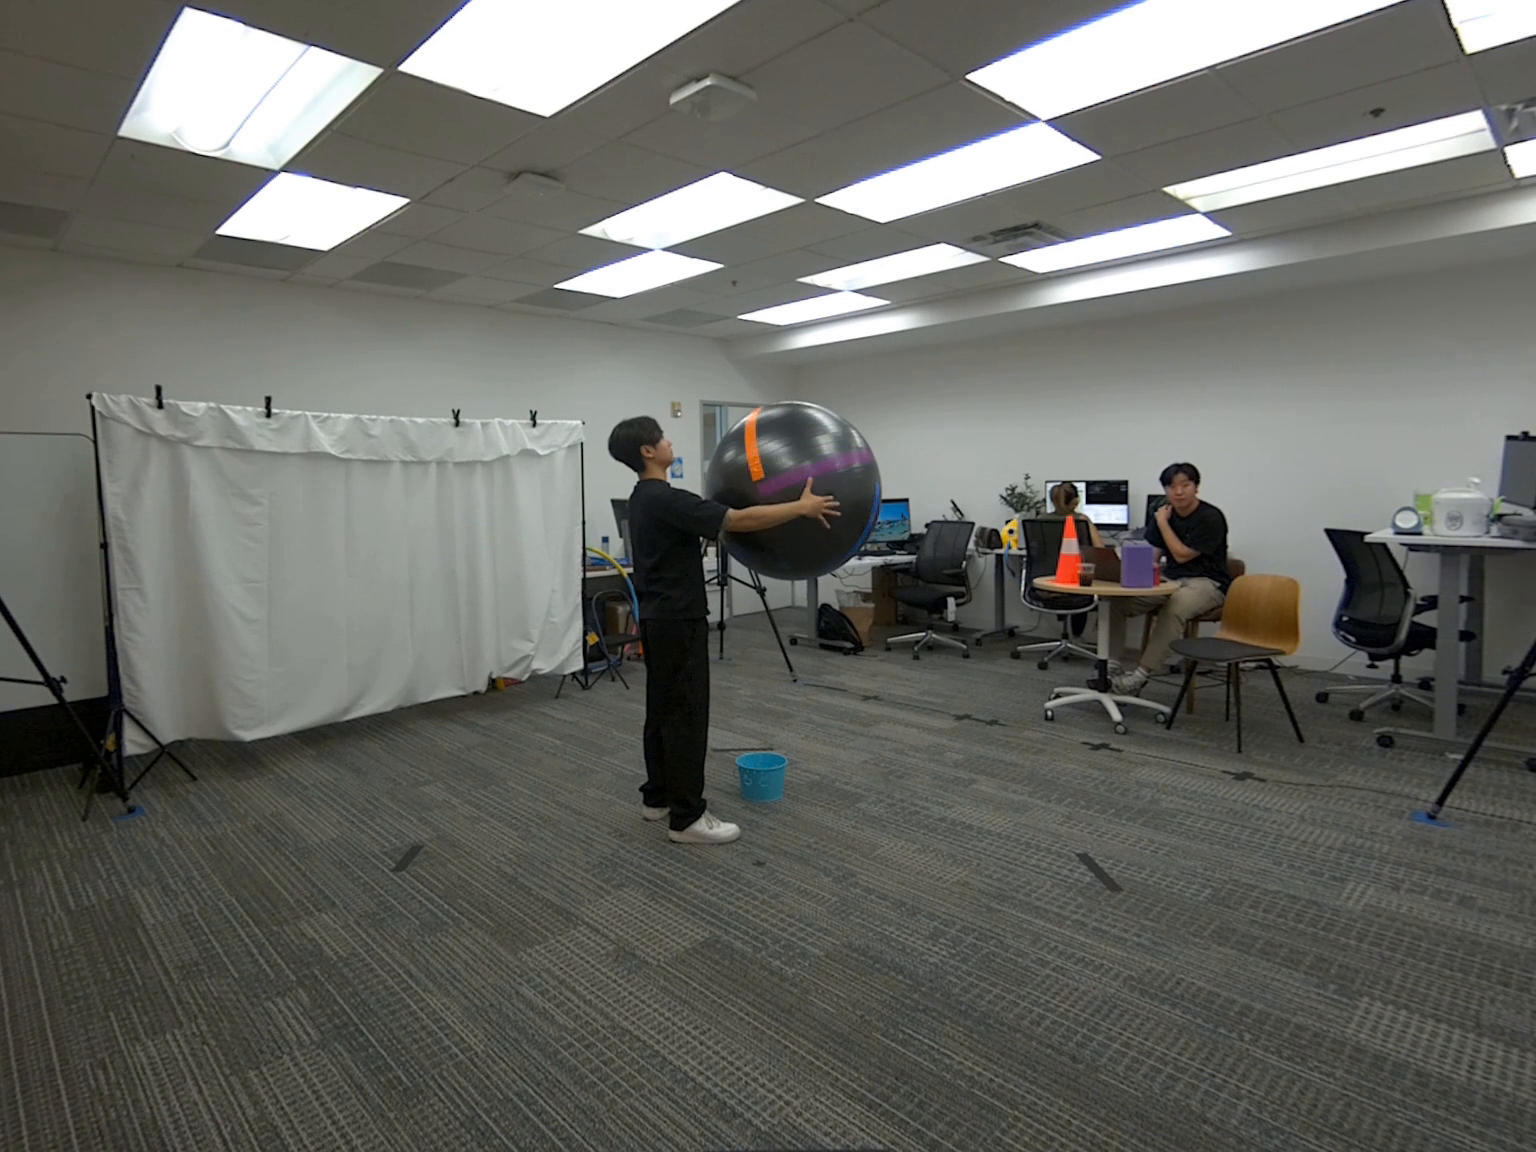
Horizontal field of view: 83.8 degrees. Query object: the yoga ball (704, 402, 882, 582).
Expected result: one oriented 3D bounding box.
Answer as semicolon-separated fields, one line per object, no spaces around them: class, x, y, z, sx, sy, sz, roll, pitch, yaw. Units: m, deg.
yoga ball;0.112;-0.359;3.673;0.757;0.755;0.762;-1;5;-2
